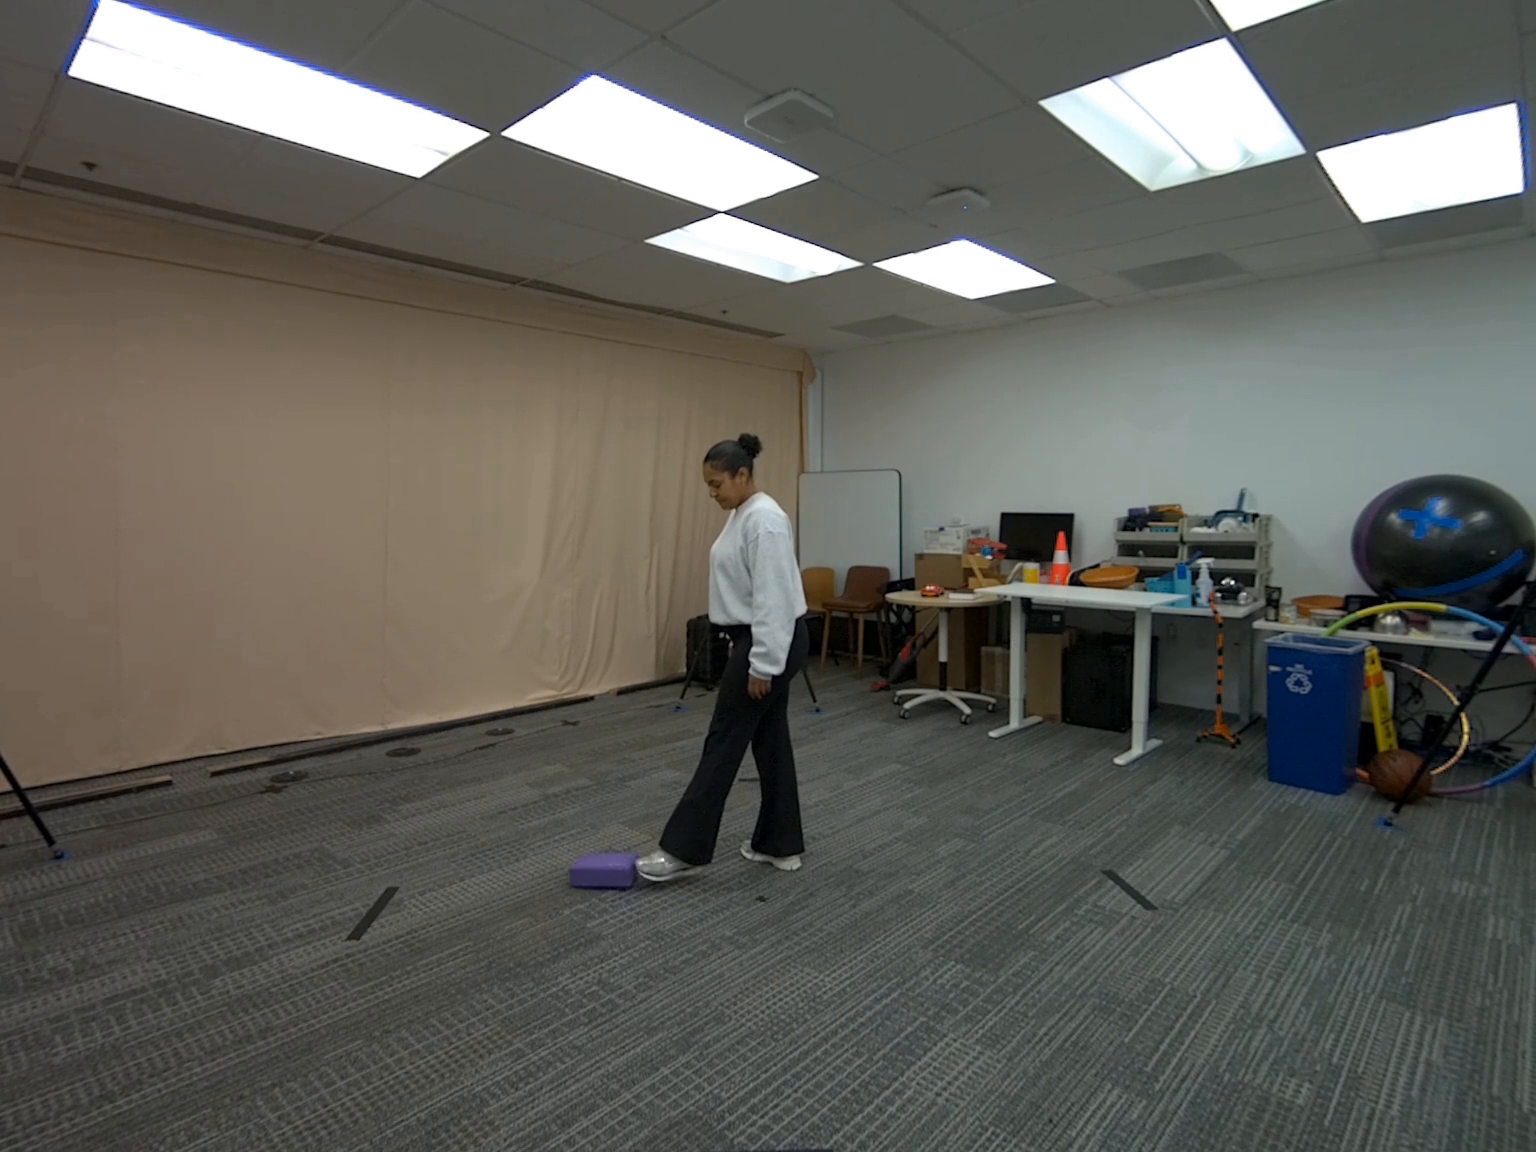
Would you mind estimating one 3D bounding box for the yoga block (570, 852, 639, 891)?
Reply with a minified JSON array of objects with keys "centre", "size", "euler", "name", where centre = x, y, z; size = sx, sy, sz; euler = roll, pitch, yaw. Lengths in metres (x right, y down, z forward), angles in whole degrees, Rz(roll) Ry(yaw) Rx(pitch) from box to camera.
[{"centre":[-0.581,1.096,3.121],"size":[0.232,0.076,0.148],"euler":[-1,5,10],"name":"yoga block"}]
